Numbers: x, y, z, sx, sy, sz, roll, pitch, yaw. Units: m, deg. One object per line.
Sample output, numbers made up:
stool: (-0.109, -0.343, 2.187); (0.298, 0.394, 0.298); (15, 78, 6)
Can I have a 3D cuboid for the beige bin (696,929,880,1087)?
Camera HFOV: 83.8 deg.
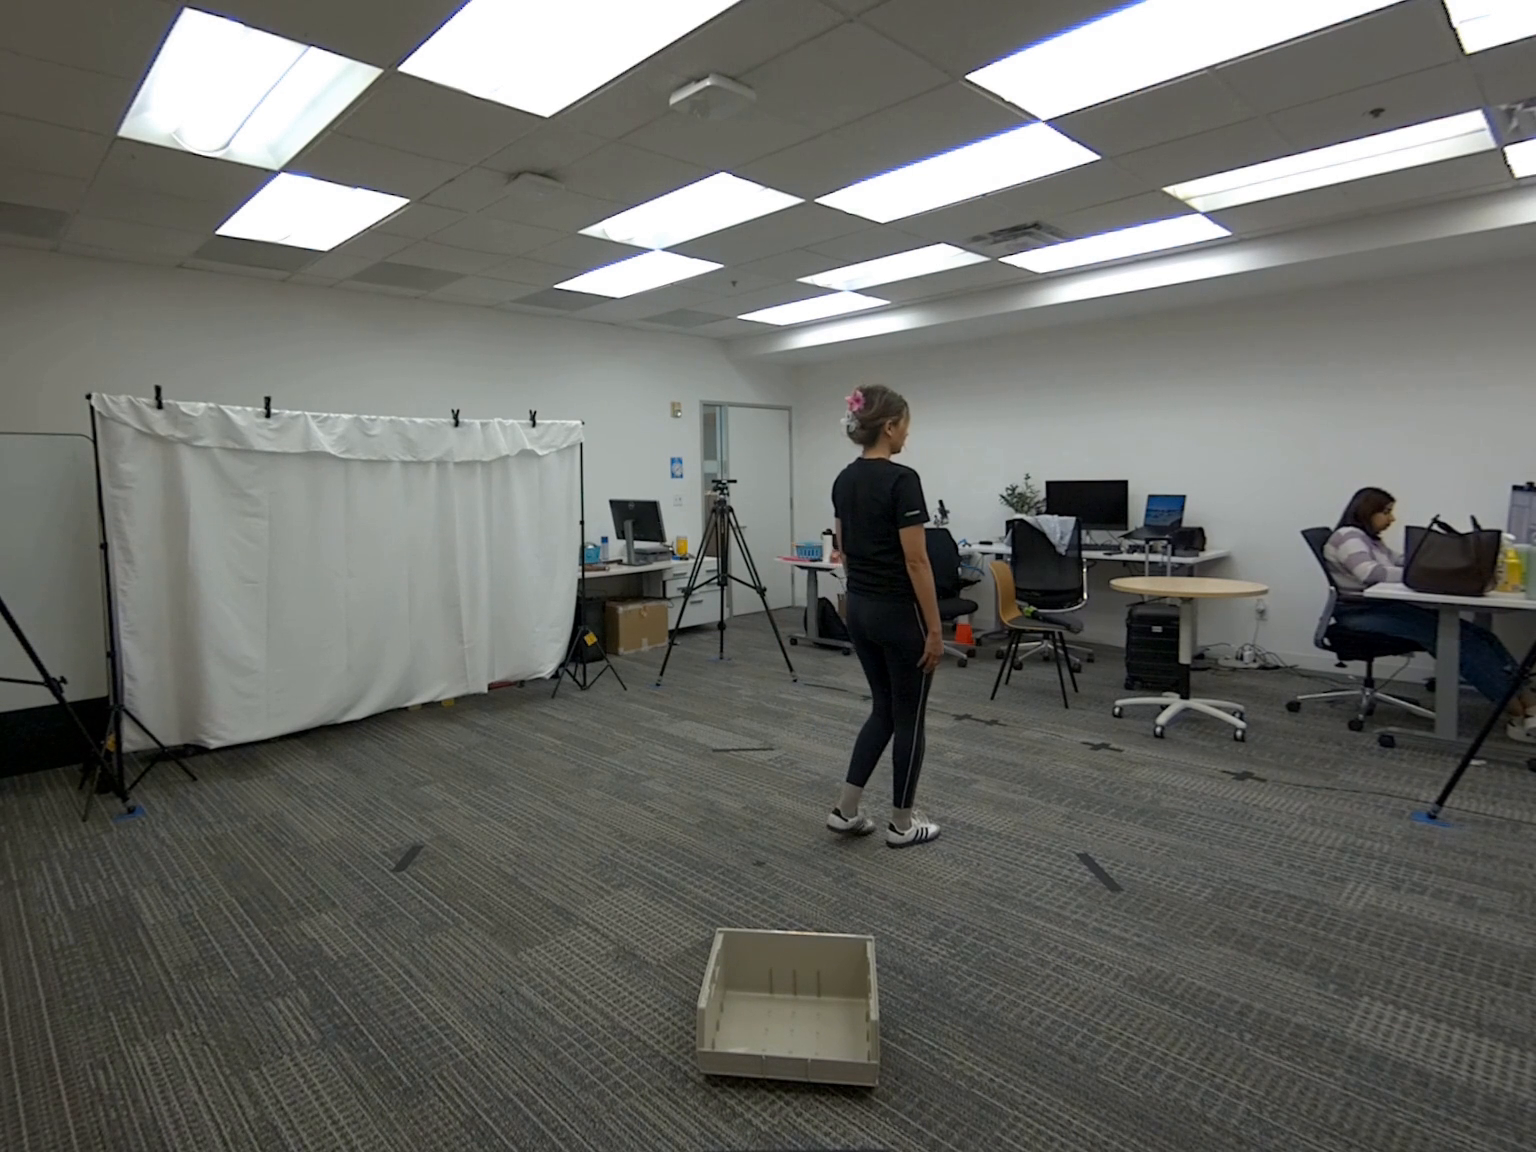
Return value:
beige bin: (0.066, 1.074, 2.114); (0.425, 0.188, 0.376); (-1, 5, 7)
